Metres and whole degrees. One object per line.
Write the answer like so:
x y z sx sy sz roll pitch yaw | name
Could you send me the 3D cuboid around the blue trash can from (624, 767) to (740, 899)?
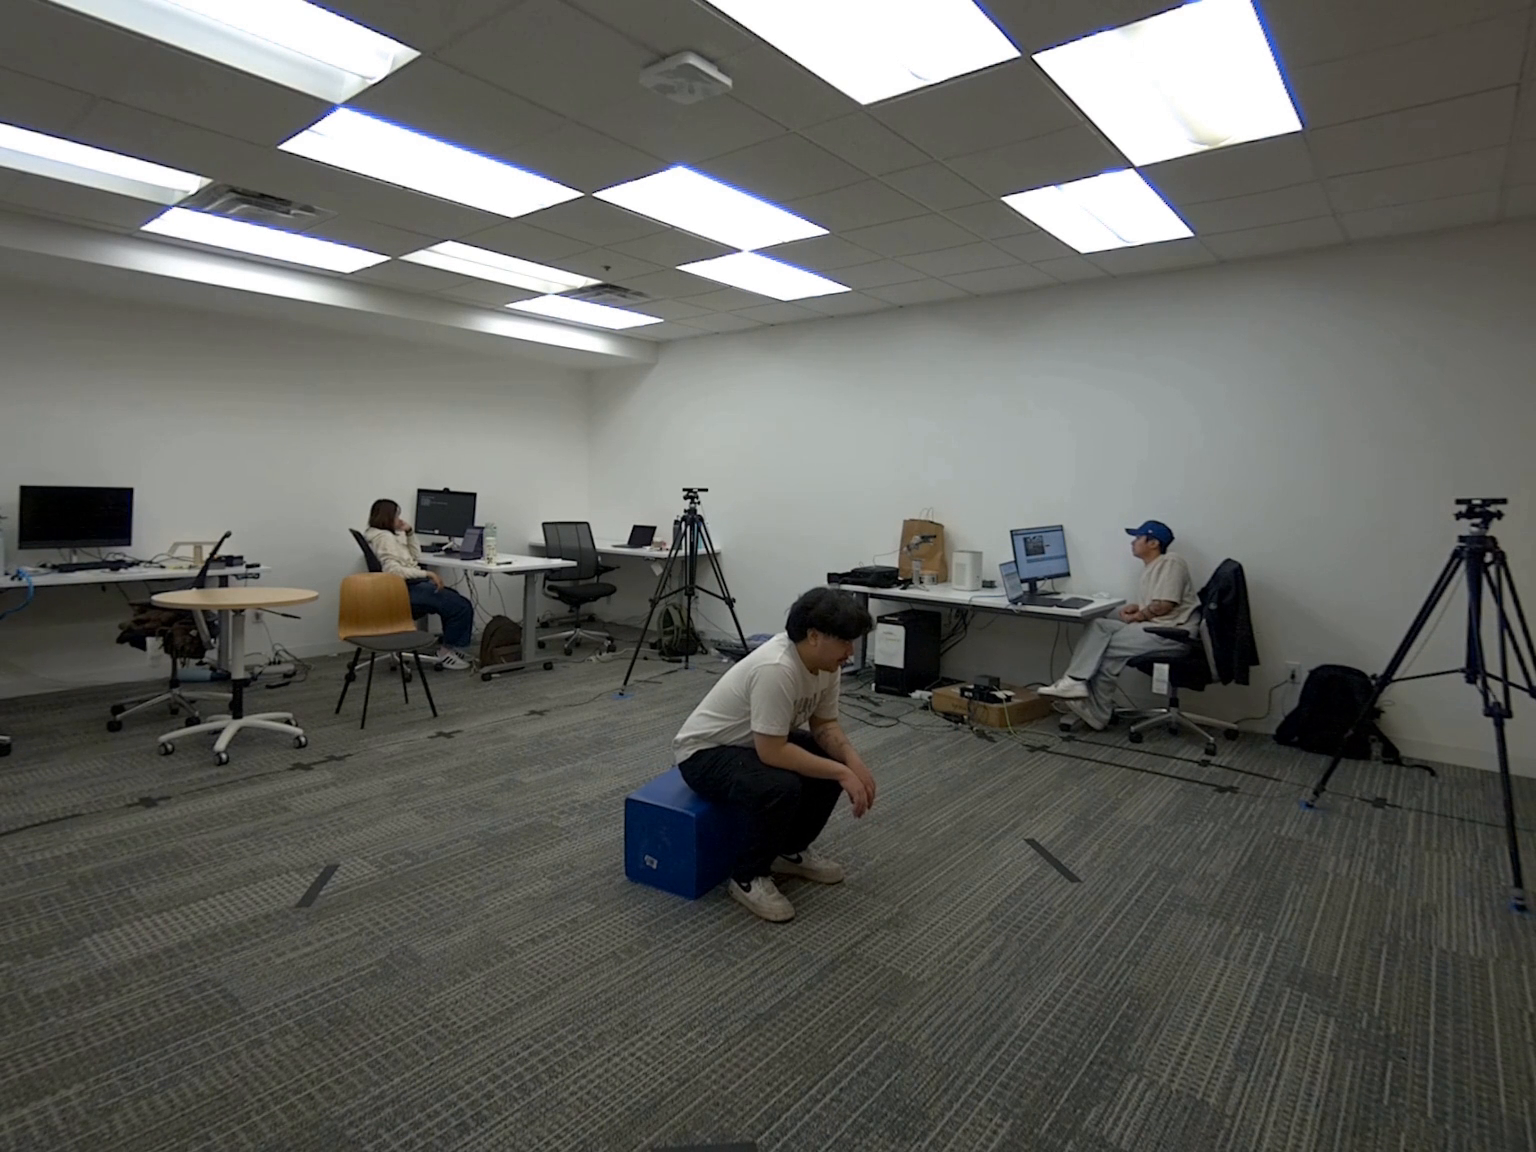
-0.220 0.893 3.231 0.389 0.371 0.698 5 10 29 | blue trash can
